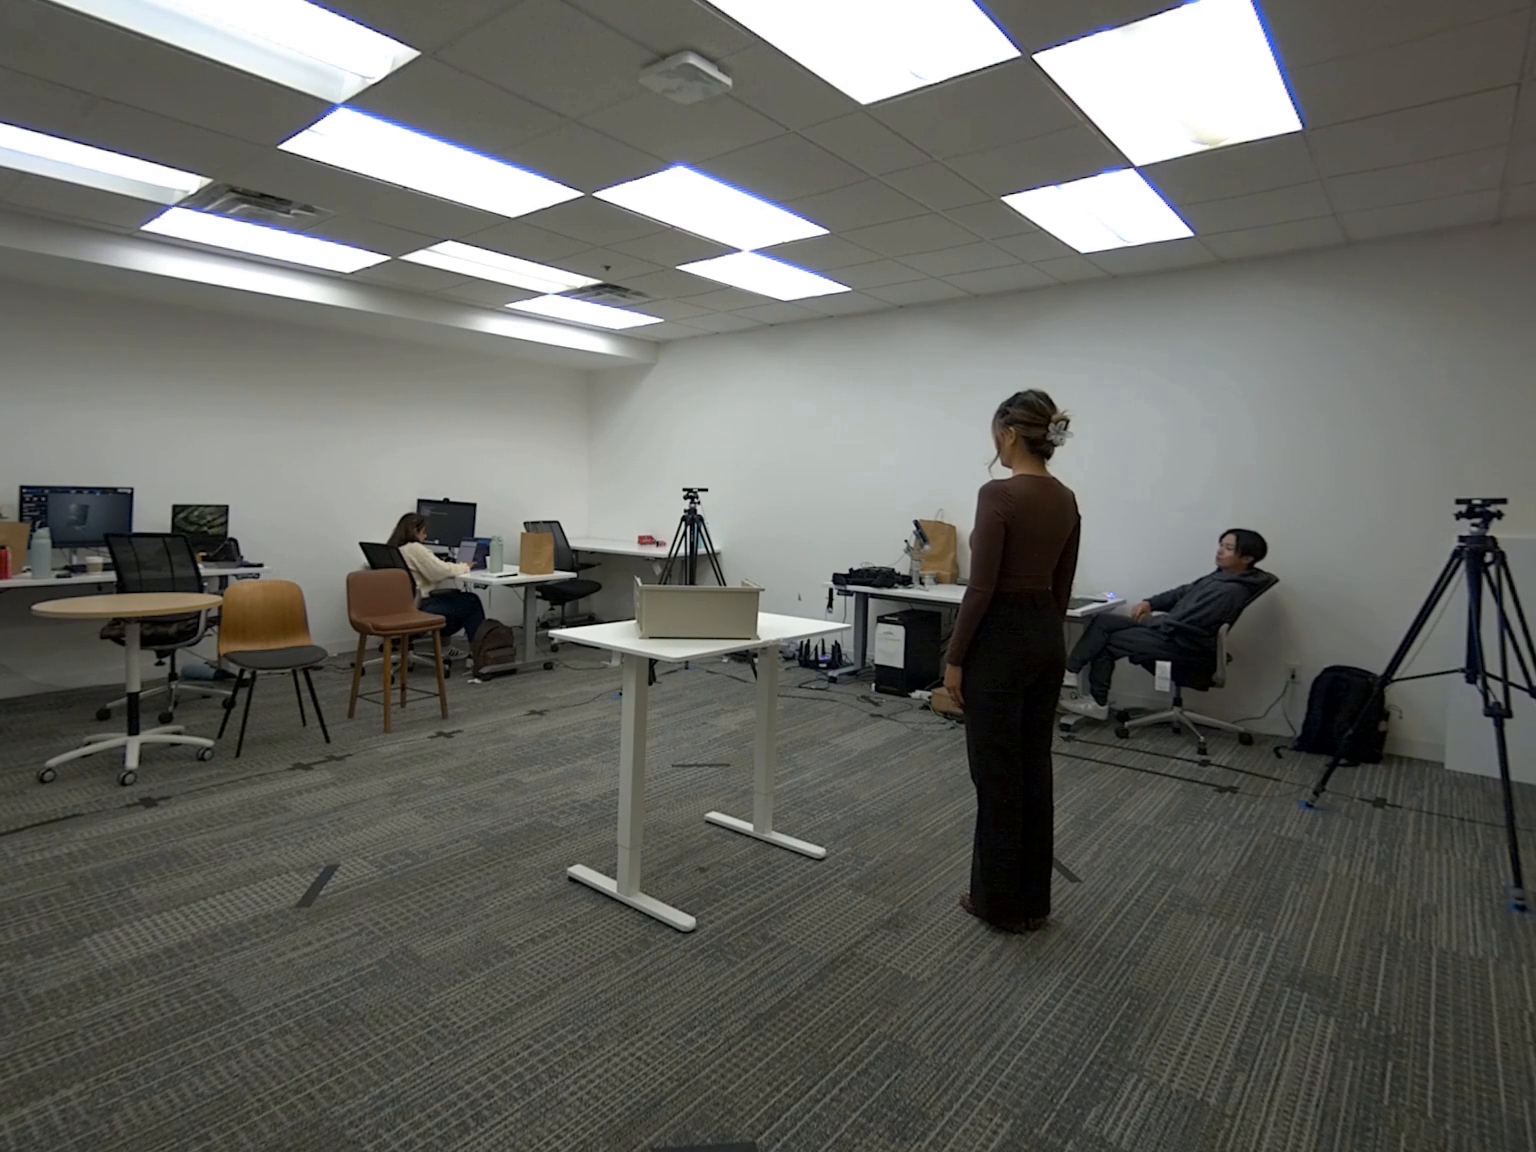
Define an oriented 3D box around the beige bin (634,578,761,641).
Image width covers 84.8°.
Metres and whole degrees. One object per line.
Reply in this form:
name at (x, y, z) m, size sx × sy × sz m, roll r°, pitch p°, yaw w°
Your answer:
beige bin at (-0.264, 0.112, 3.014) m, size 0.418 × 0.188 × 0.383 m, roll 3°, pitch 5°, yaw -11°
